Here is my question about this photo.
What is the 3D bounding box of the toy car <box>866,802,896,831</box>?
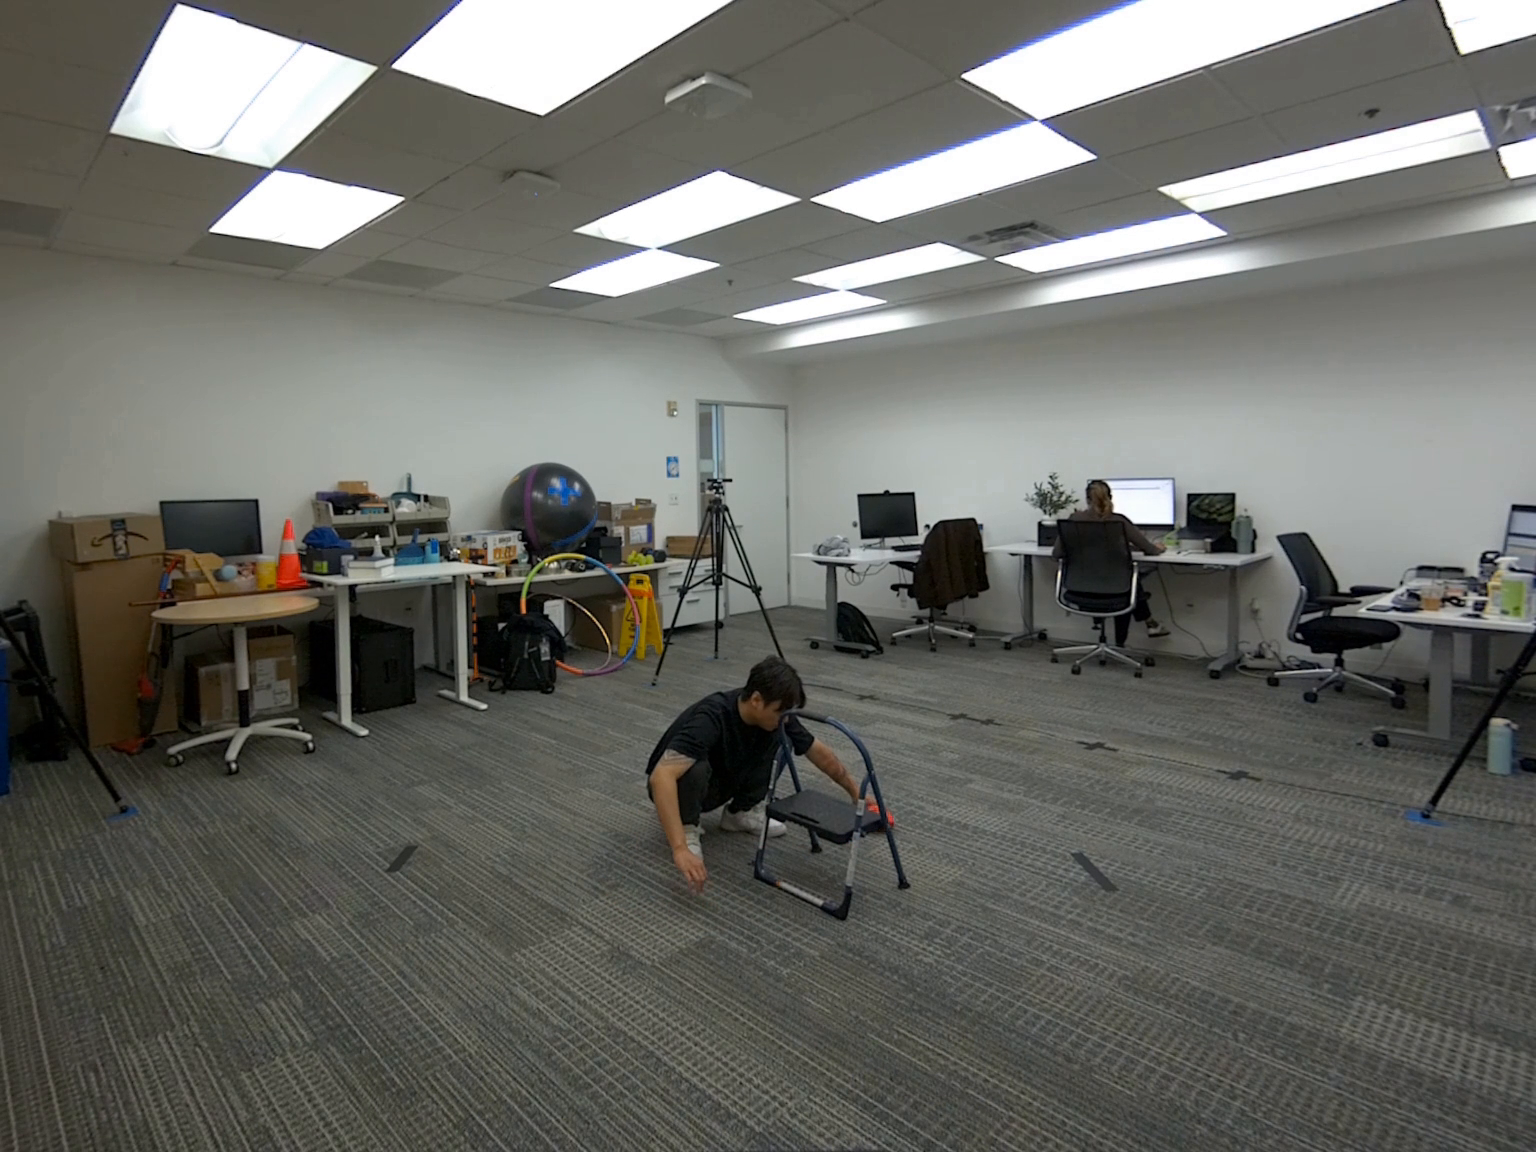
[{"bbox_3d":[0.422,0.962,3.441,0.129,0.084,0.255,0,-6,-8],"label":"toy car"}]
